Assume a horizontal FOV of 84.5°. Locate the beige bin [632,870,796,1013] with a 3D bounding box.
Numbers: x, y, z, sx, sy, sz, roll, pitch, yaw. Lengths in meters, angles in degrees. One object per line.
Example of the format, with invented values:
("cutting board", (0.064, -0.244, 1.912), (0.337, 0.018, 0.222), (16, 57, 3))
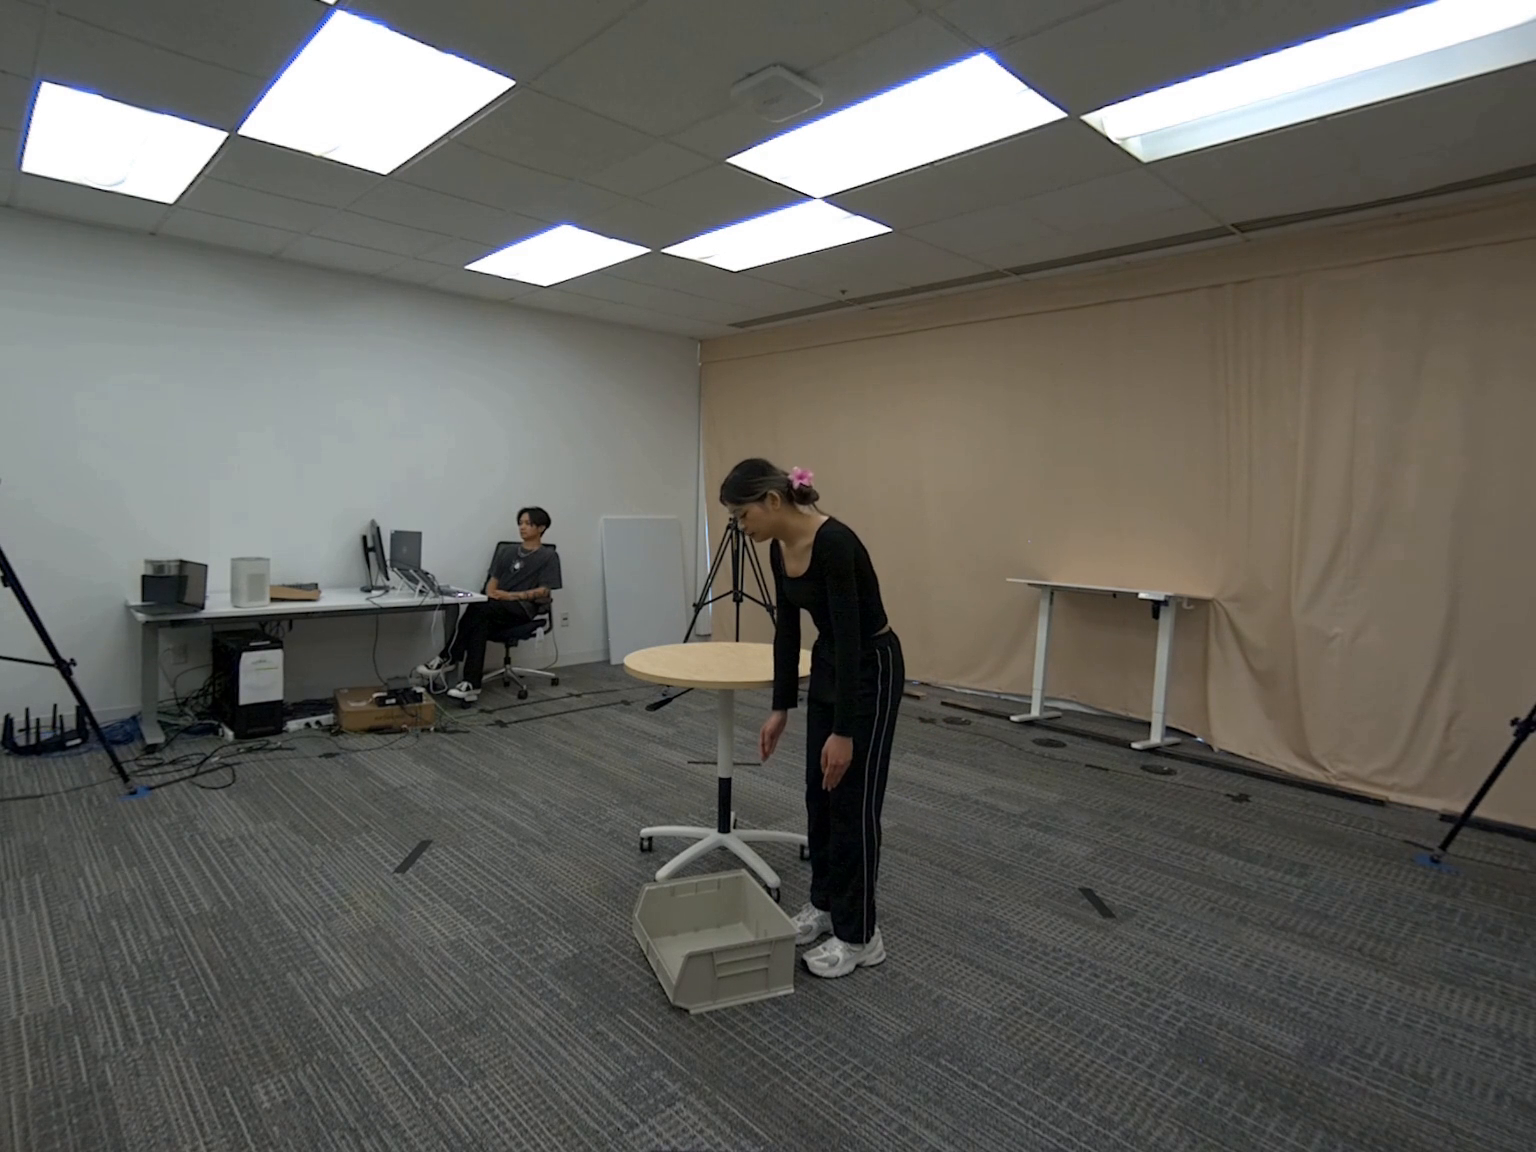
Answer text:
("beige bin", (-0.168, 1.072, 2.496), (0.371, 0.188, 0.431), (0, 5, -24))
